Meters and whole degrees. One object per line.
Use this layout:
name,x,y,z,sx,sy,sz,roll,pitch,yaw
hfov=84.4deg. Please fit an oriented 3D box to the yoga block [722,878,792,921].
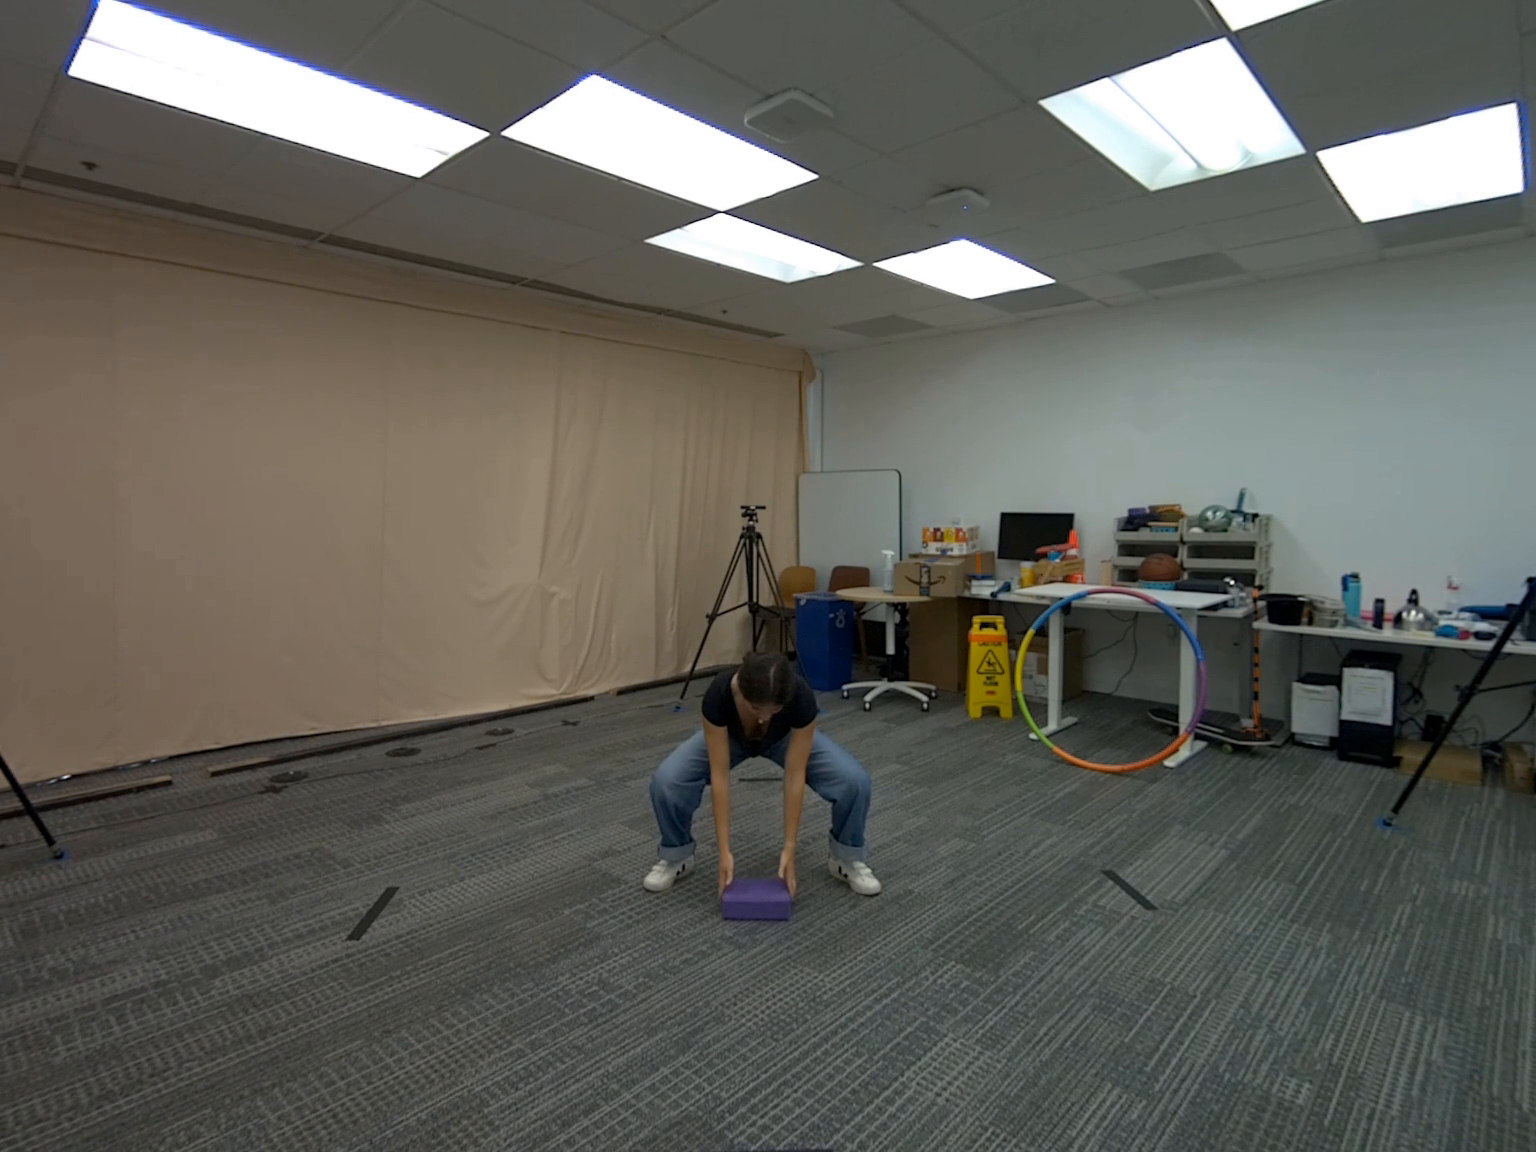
yoga block,-0.034,1.105,2.889,0.229,0.076,0.149,-1,7,0
